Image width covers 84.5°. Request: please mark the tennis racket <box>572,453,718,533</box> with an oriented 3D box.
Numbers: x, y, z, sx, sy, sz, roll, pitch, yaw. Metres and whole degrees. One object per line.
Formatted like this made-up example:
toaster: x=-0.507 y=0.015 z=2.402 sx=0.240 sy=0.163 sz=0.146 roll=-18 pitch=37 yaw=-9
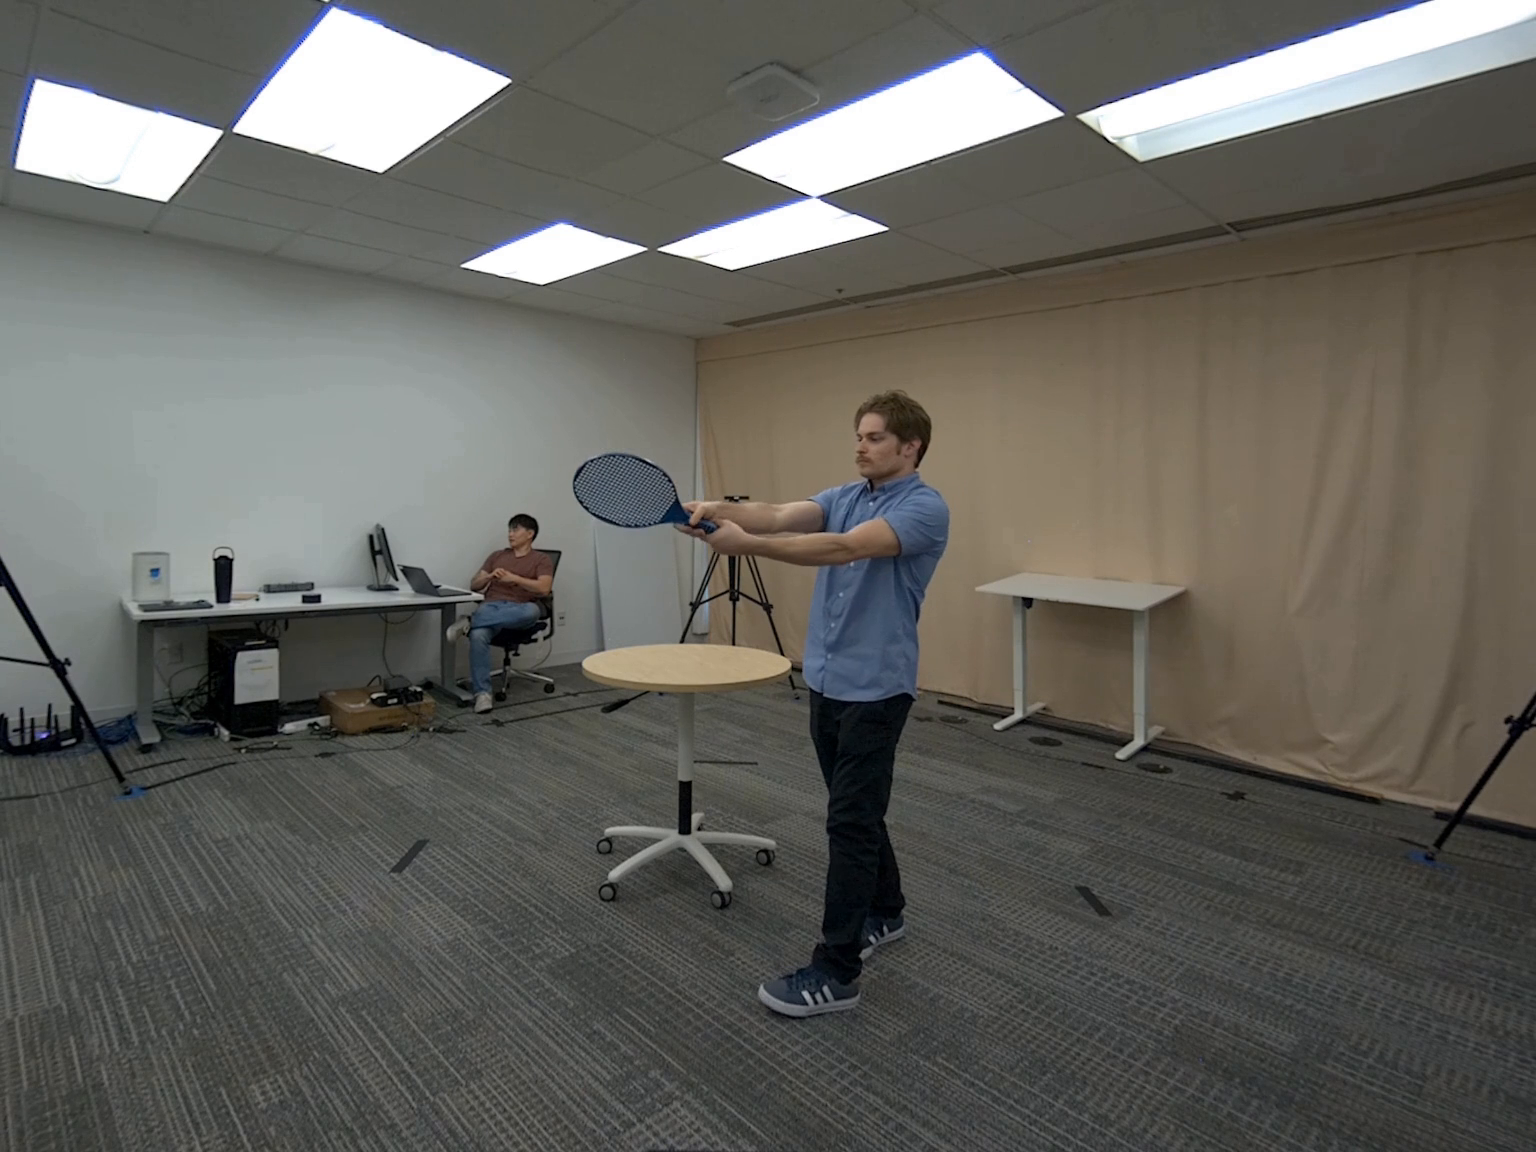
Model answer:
tennis racket: x=-0.283 y=-0.179 z=2.092 sx=0.424 sy=0.213 sz=0.032 roll=21 pitch=31 yaw=-23
